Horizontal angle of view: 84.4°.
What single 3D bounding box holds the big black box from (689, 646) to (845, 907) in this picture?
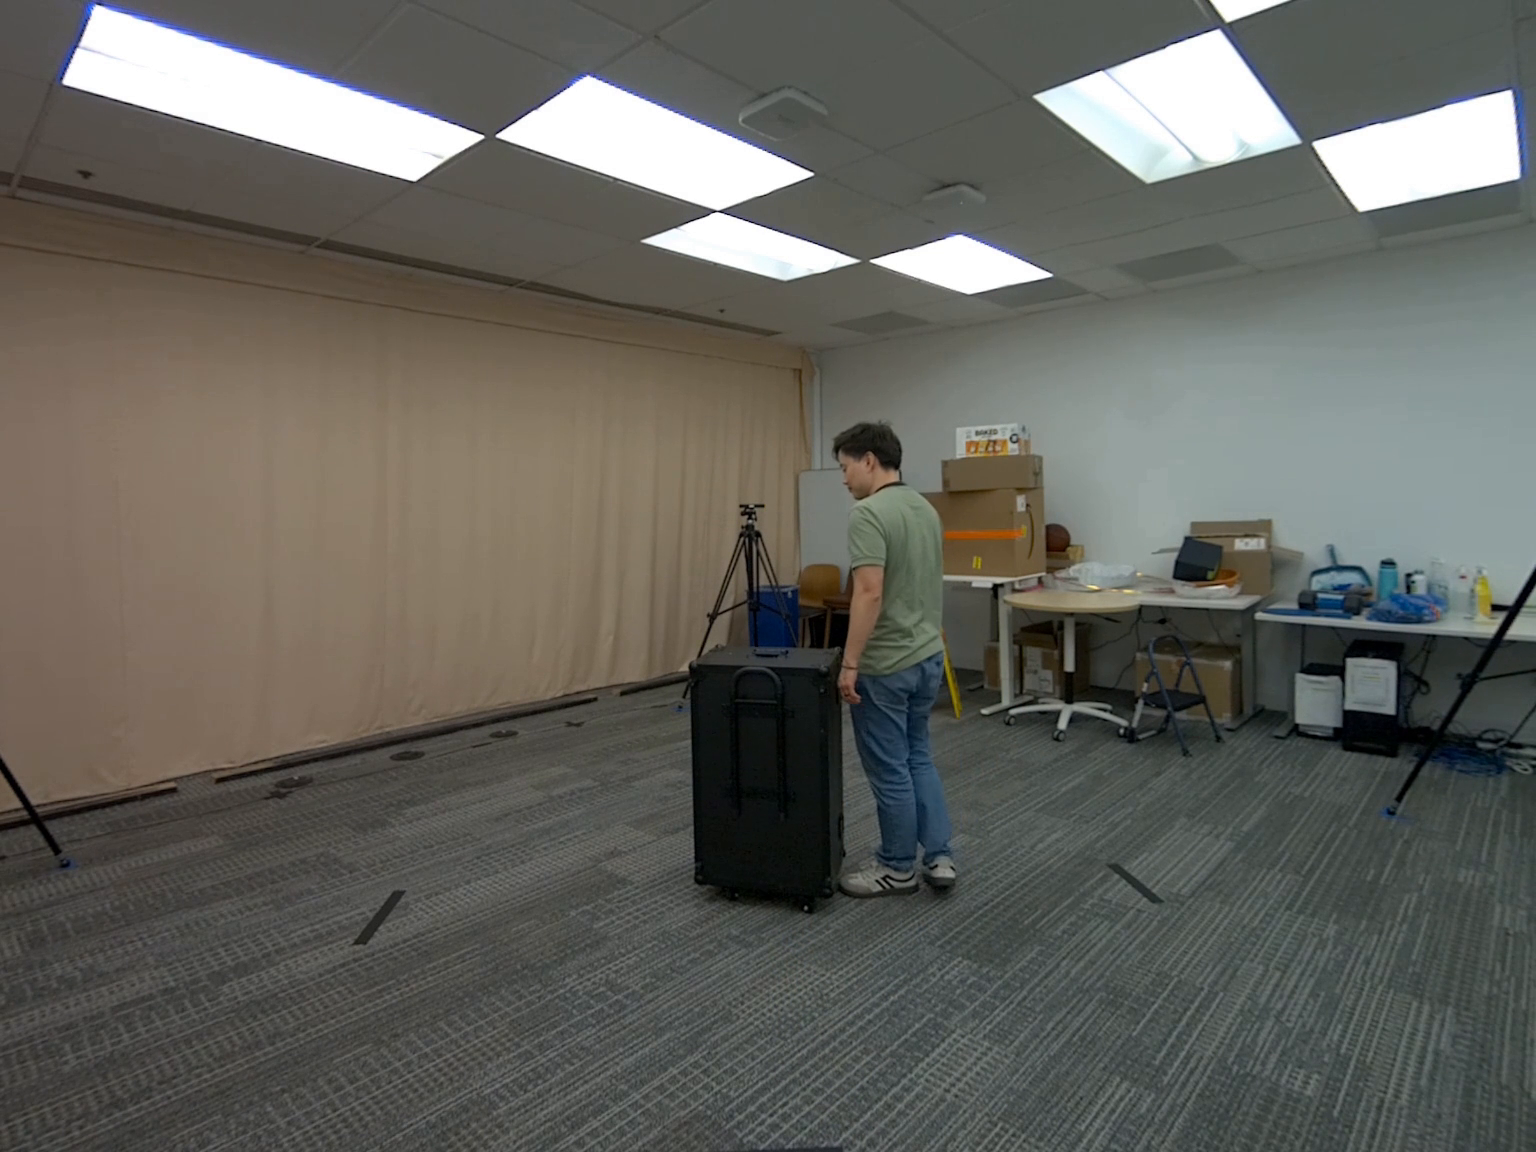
[{"bbox_3d":[0.013,0.713,3.021,0.530,0.859,0.390,0,4,16],"label":"big black box"}]
